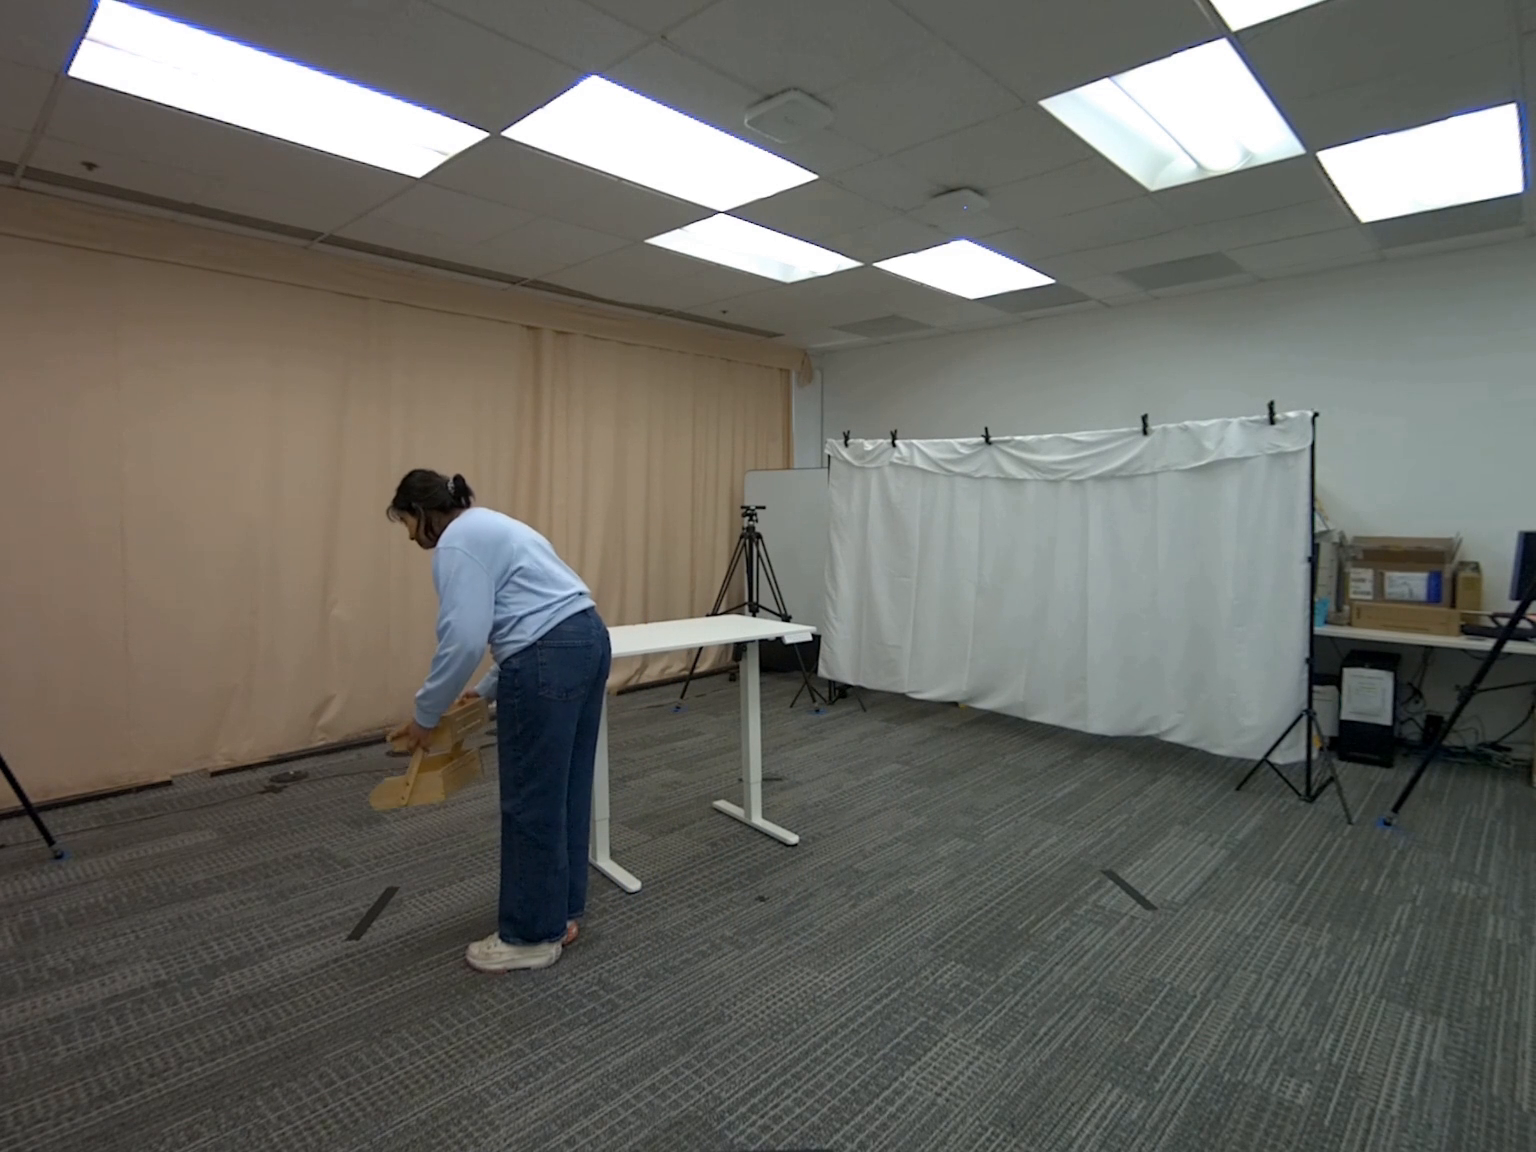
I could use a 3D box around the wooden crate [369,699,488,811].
[{"bbox_3d":[-1.101,0.565,2.707,0.304,0.273,0.323,-9,1,5],"label":"wooden crate"}]
